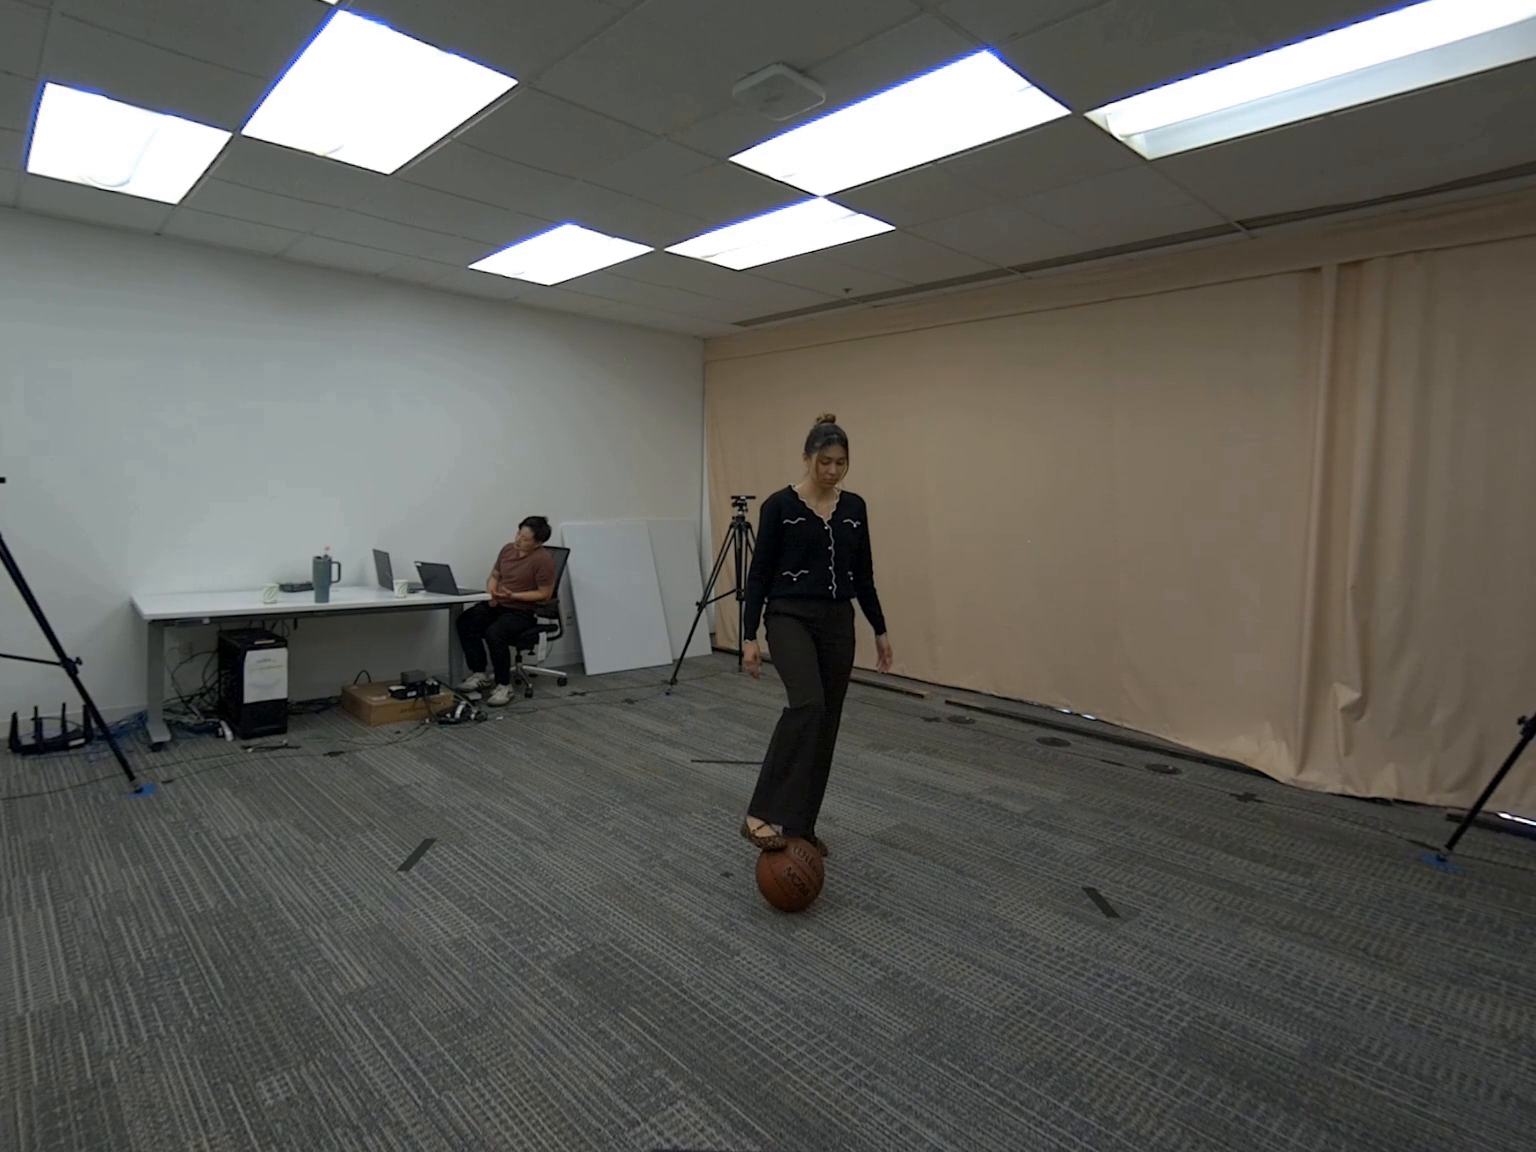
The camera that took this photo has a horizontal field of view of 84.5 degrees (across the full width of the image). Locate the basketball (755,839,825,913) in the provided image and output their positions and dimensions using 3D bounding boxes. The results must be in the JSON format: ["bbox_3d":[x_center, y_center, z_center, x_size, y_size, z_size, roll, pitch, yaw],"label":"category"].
[{"bbox_3d":[0.080,1.012,2.870,0.236,0.235,0.237,1,4,-1],"label":"basketball"}]
